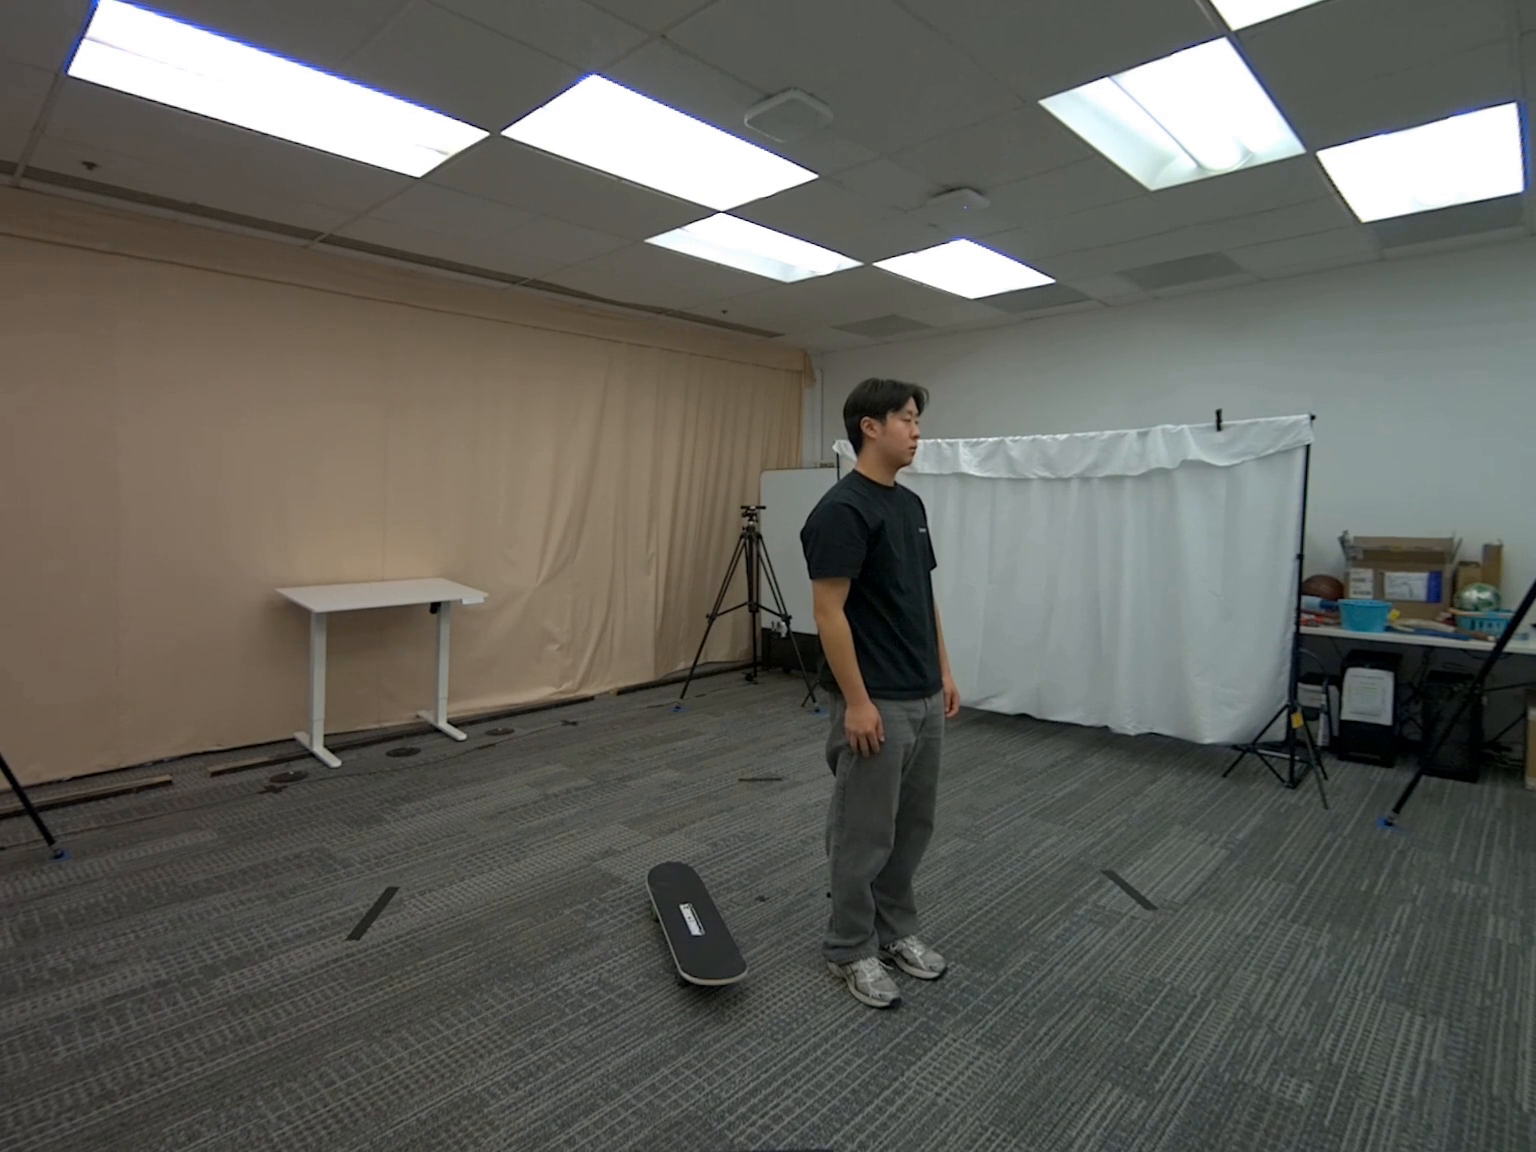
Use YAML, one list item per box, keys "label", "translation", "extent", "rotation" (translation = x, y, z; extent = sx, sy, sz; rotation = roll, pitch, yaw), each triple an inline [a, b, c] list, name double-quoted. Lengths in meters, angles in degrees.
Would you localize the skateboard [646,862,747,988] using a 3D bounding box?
- label: "skateboard"
  translation: [-0.241, 1.111, 2.664]
  extent: [0.190, 0.110, 0.800]
  rotation: [-2, 5, -16]
